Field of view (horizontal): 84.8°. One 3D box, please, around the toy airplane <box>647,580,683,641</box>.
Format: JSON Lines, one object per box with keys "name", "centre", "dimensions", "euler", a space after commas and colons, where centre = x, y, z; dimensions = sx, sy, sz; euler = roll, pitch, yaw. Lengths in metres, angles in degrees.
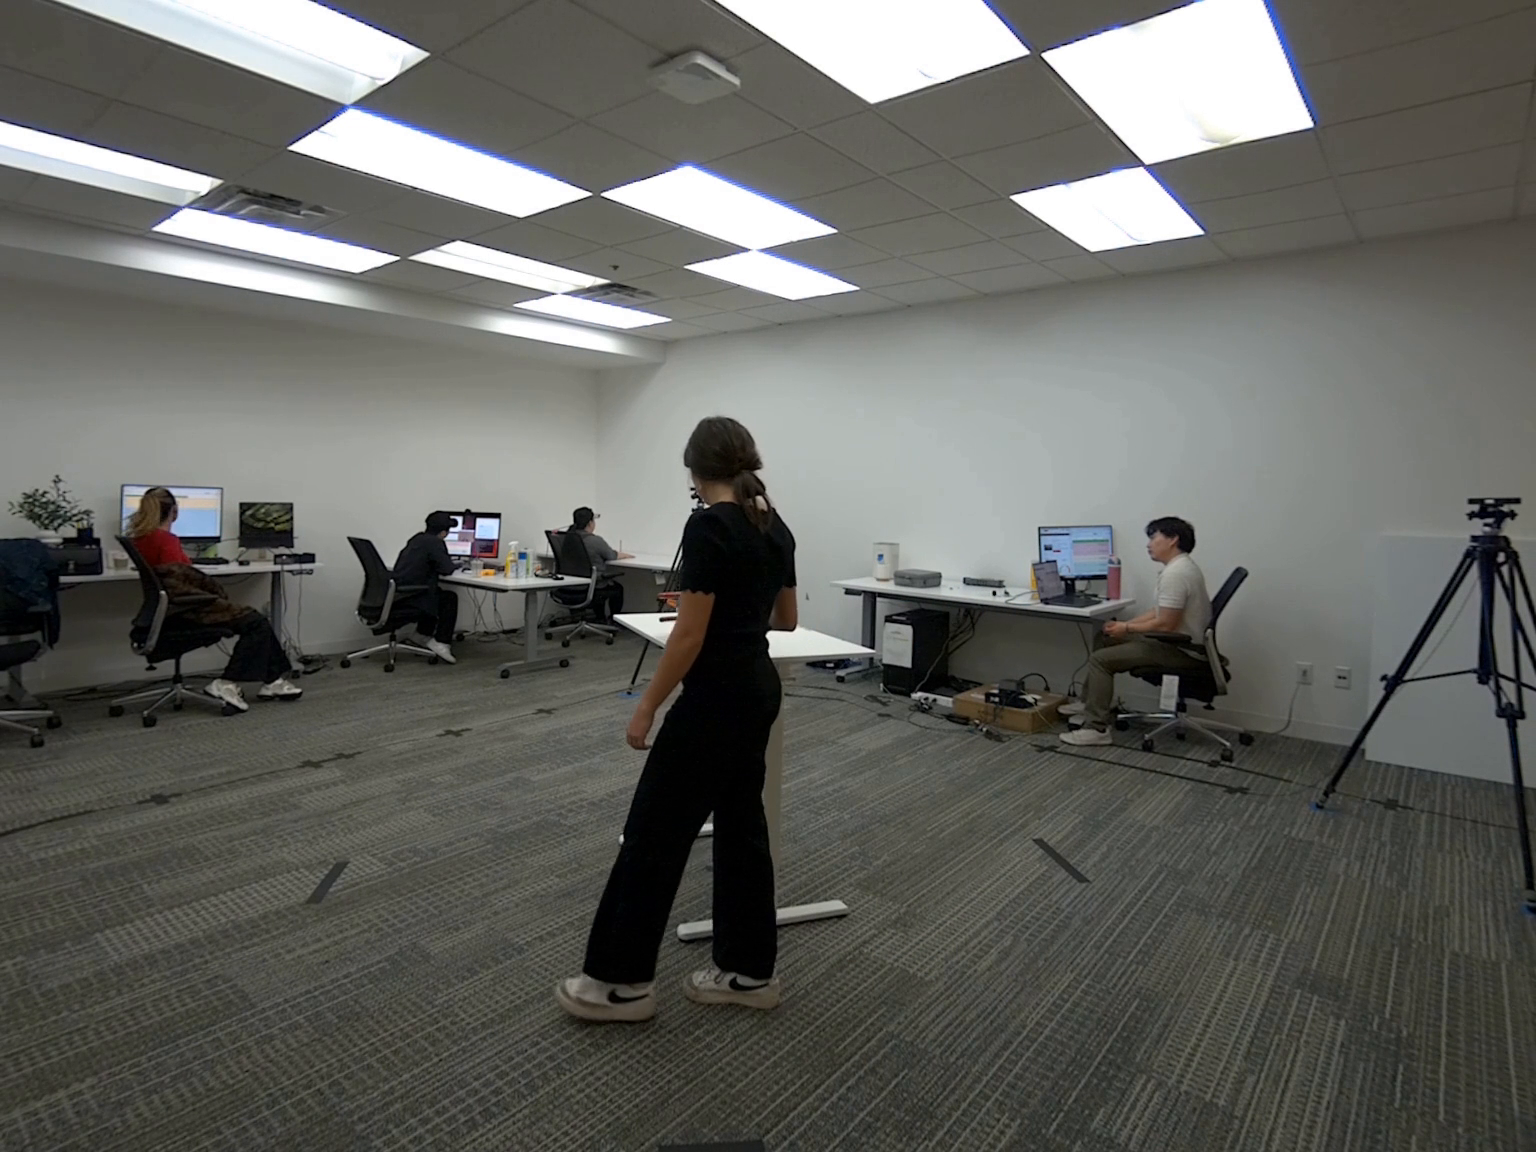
{"name": "toy airplane", "centre": [-0.215, 0.105, 2.810], "dimensions": [0.263, 0.159, 0.242], "euler": [-20, -17, 28]}
